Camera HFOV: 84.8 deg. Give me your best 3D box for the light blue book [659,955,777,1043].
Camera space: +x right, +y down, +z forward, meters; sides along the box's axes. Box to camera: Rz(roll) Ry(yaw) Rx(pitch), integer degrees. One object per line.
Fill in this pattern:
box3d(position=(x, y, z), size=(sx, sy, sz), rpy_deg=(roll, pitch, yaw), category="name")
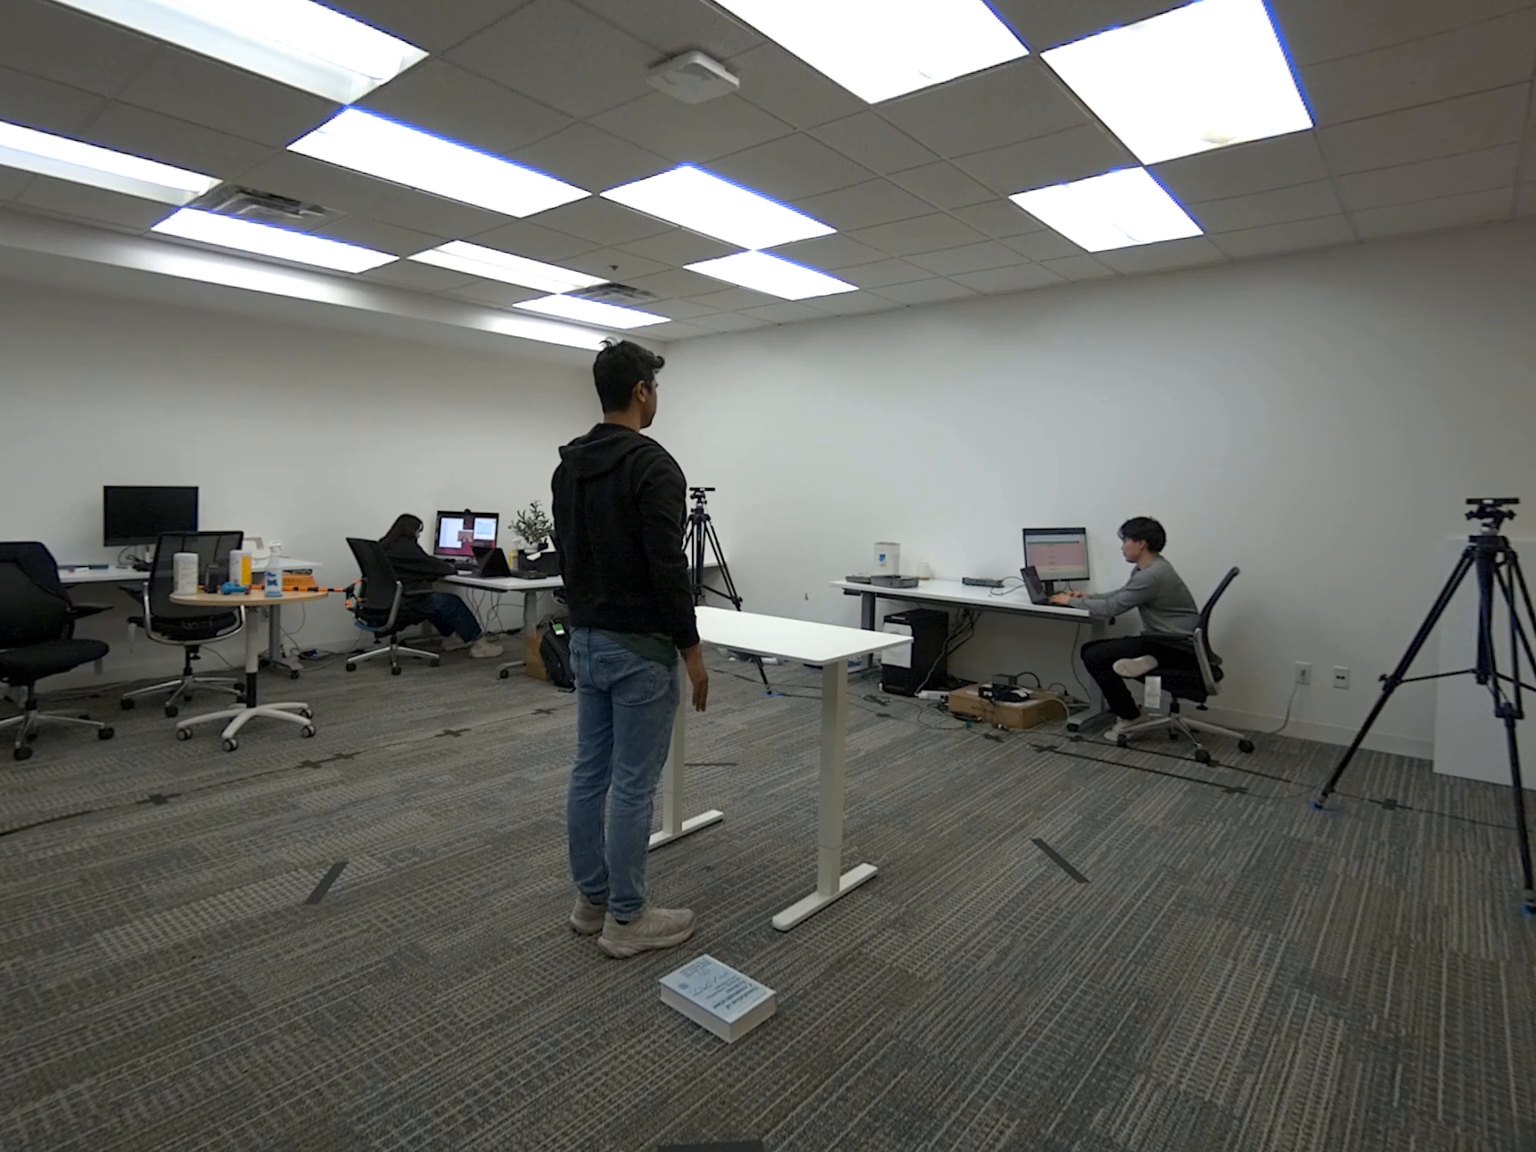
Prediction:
box3d(position=(-0.140, 1.120, 2.277), size=(0.270, 0.059, 0.186), rpy_deg=(6, 8, 40), category="light blue book")
